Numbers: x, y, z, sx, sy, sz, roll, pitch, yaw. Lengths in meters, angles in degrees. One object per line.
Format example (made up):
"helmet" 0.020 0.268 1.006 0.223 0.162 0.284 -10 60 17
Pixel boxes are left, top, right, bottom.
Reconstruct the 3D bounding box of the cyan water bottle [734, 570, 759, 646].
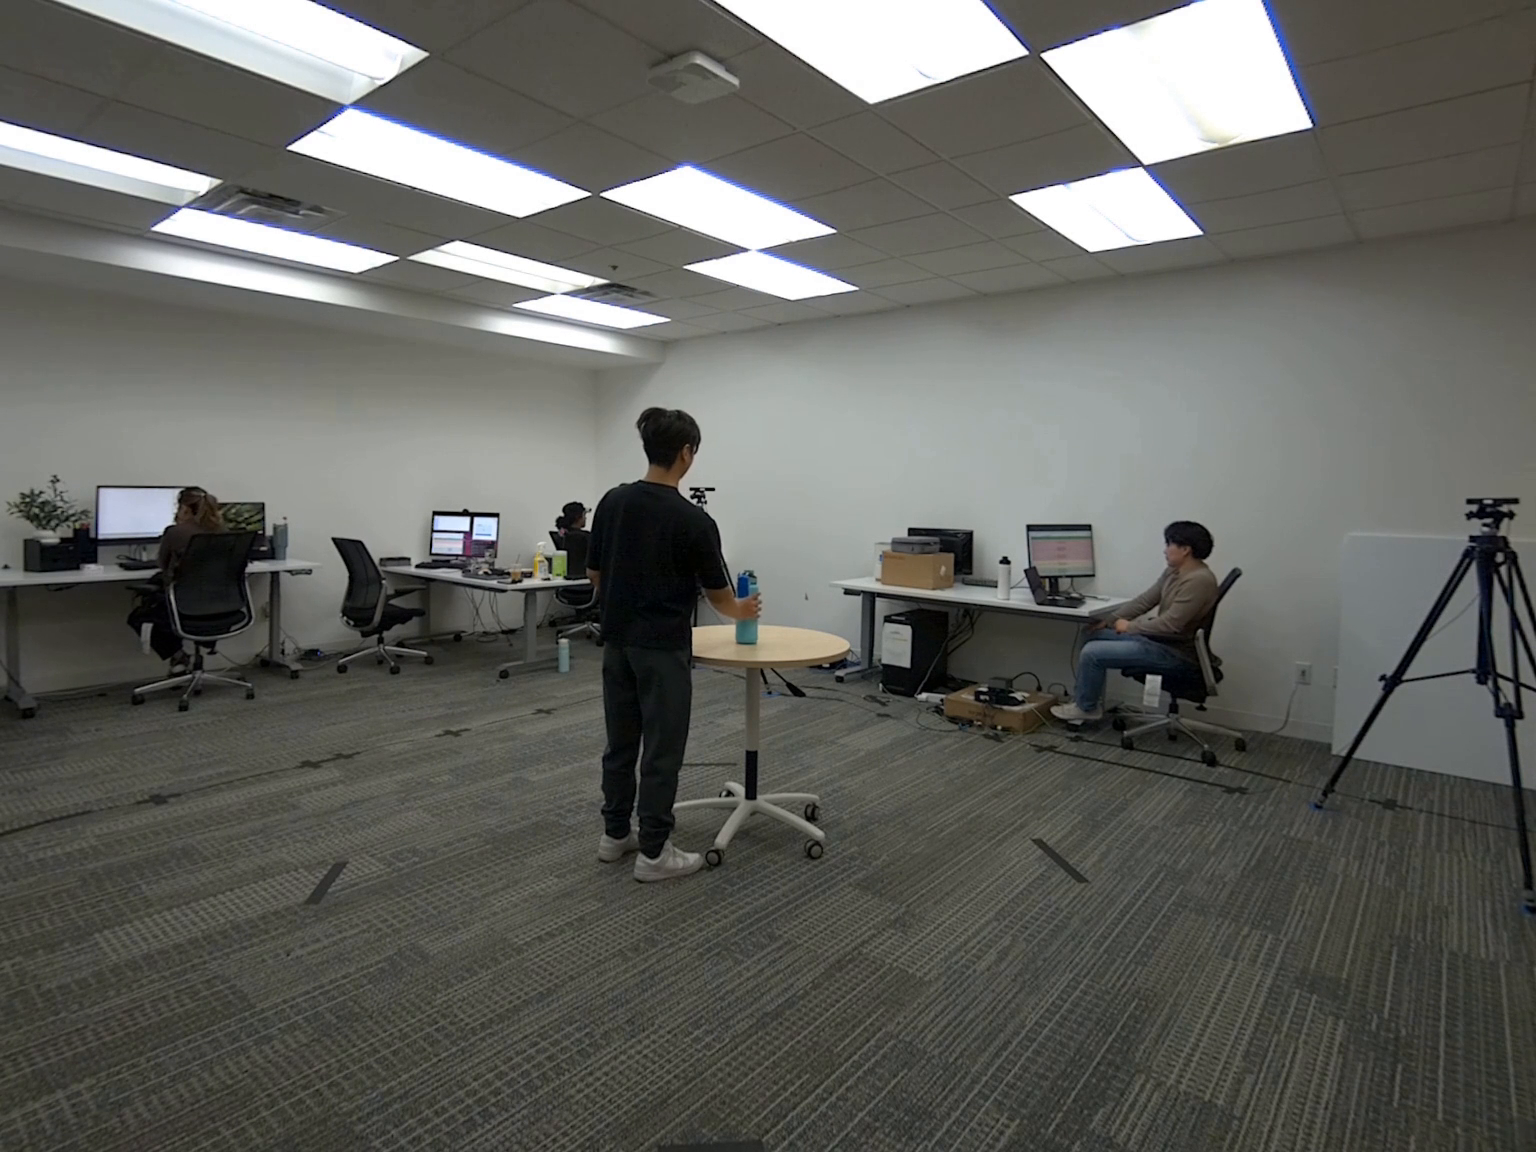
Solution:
"cyan water bottle" -0.097 0.112 3.368 0.092 0.282 0.093 1 4 -2
